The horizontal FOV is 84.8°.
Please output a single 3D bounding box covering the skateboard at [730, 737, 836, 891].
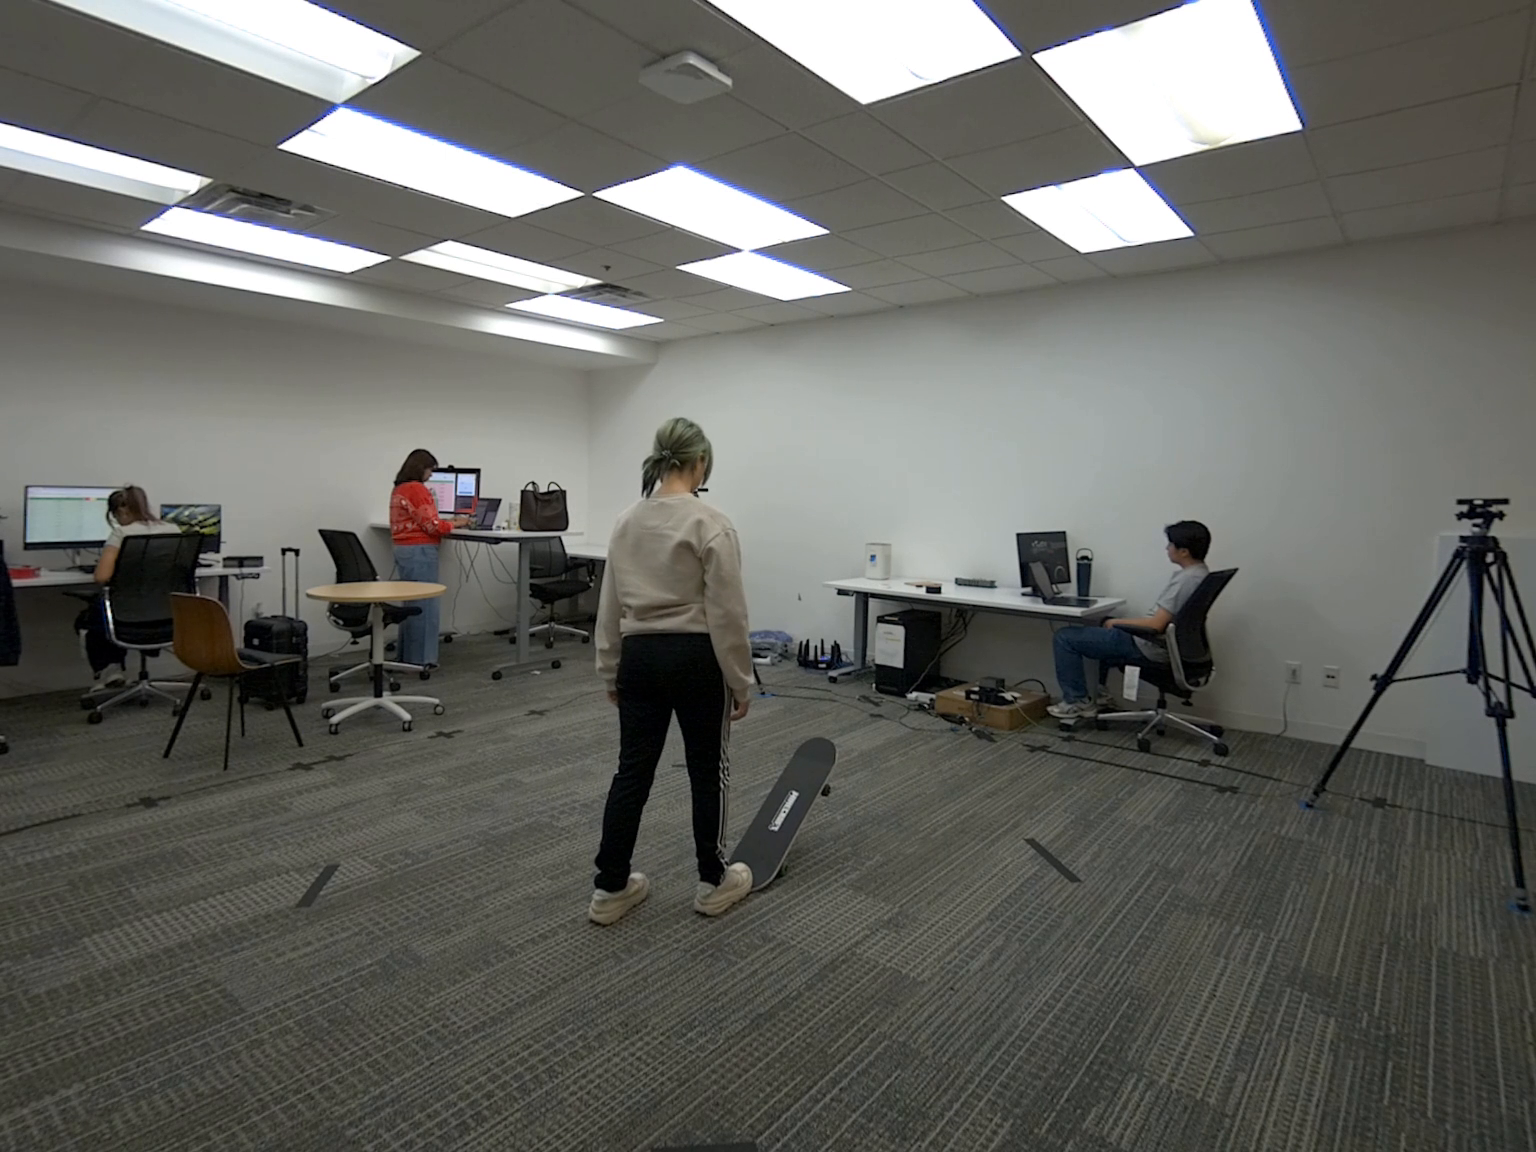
[{"bbox_3d":[0.064,0.921,3.249,0.199,0.107,0.786,2,33,29],"label":"skateboard"}]
